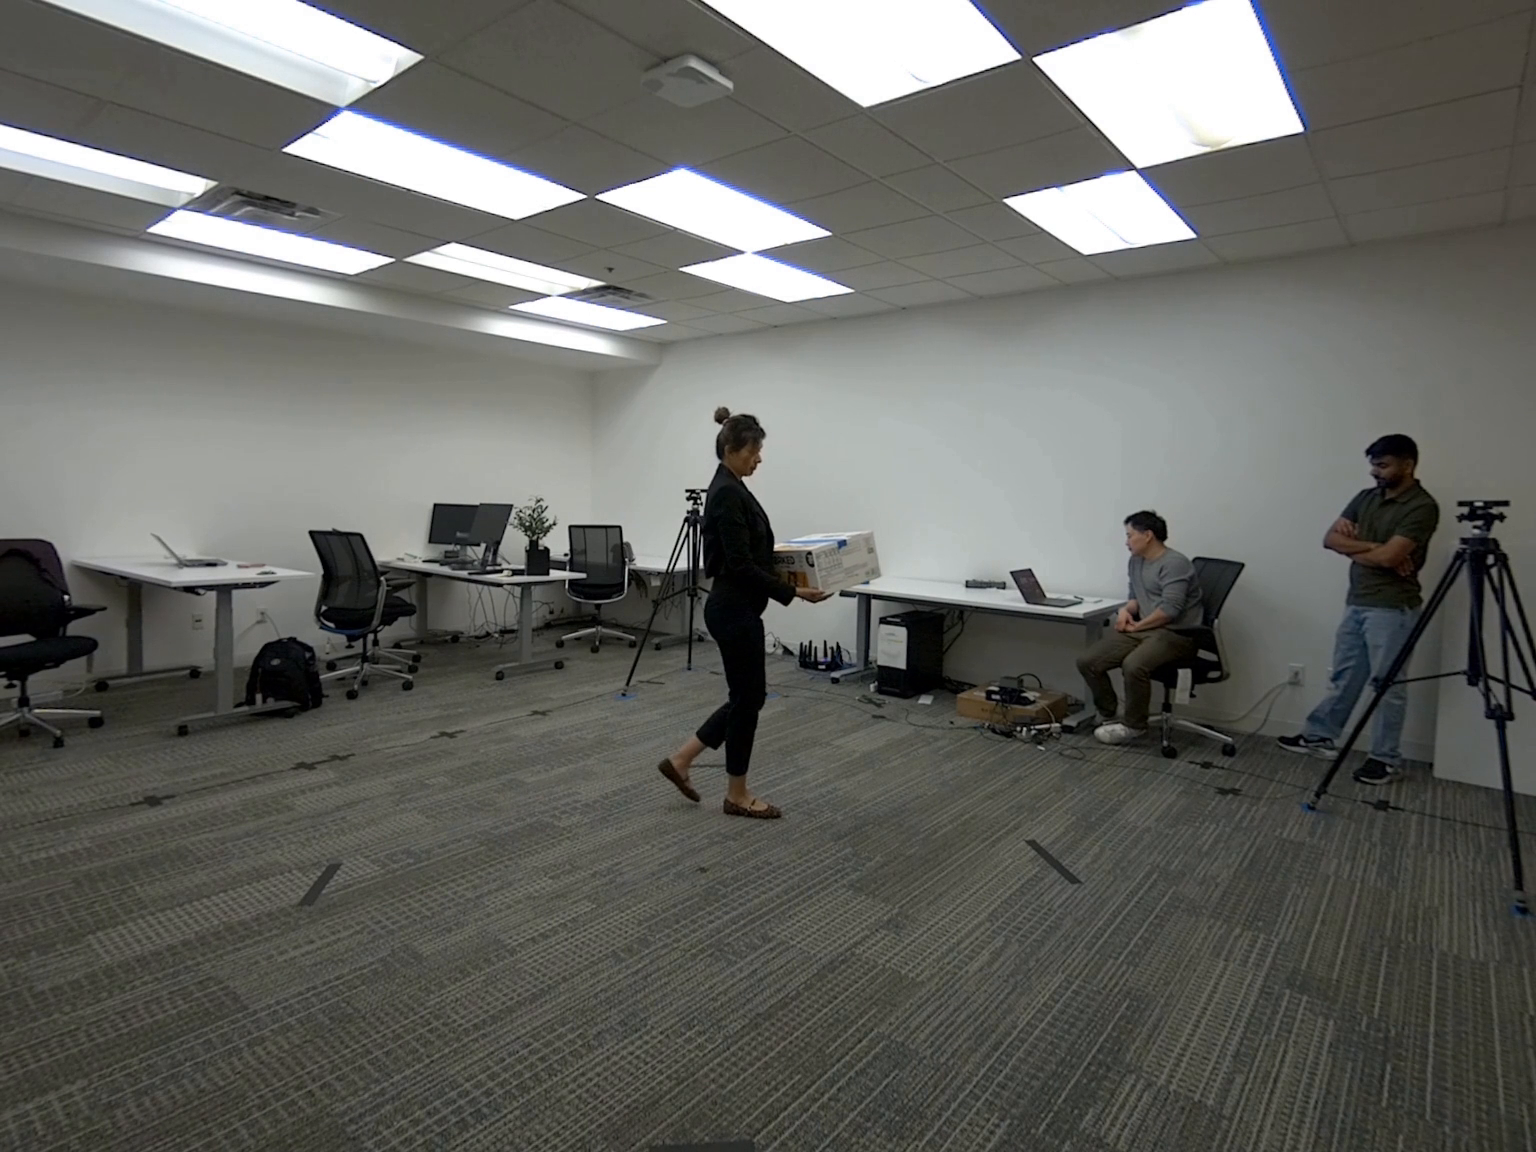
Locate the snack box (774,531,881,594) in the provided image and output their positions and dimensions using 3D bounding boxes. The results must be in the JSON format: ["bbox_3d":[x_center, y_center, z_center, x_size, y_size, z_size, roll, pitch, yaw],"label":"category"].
[{"bbox_3d":[0.202,-0.053,3.694,0.333,0.204,0.417,-17,10,-32],"label":"snack box"}]
